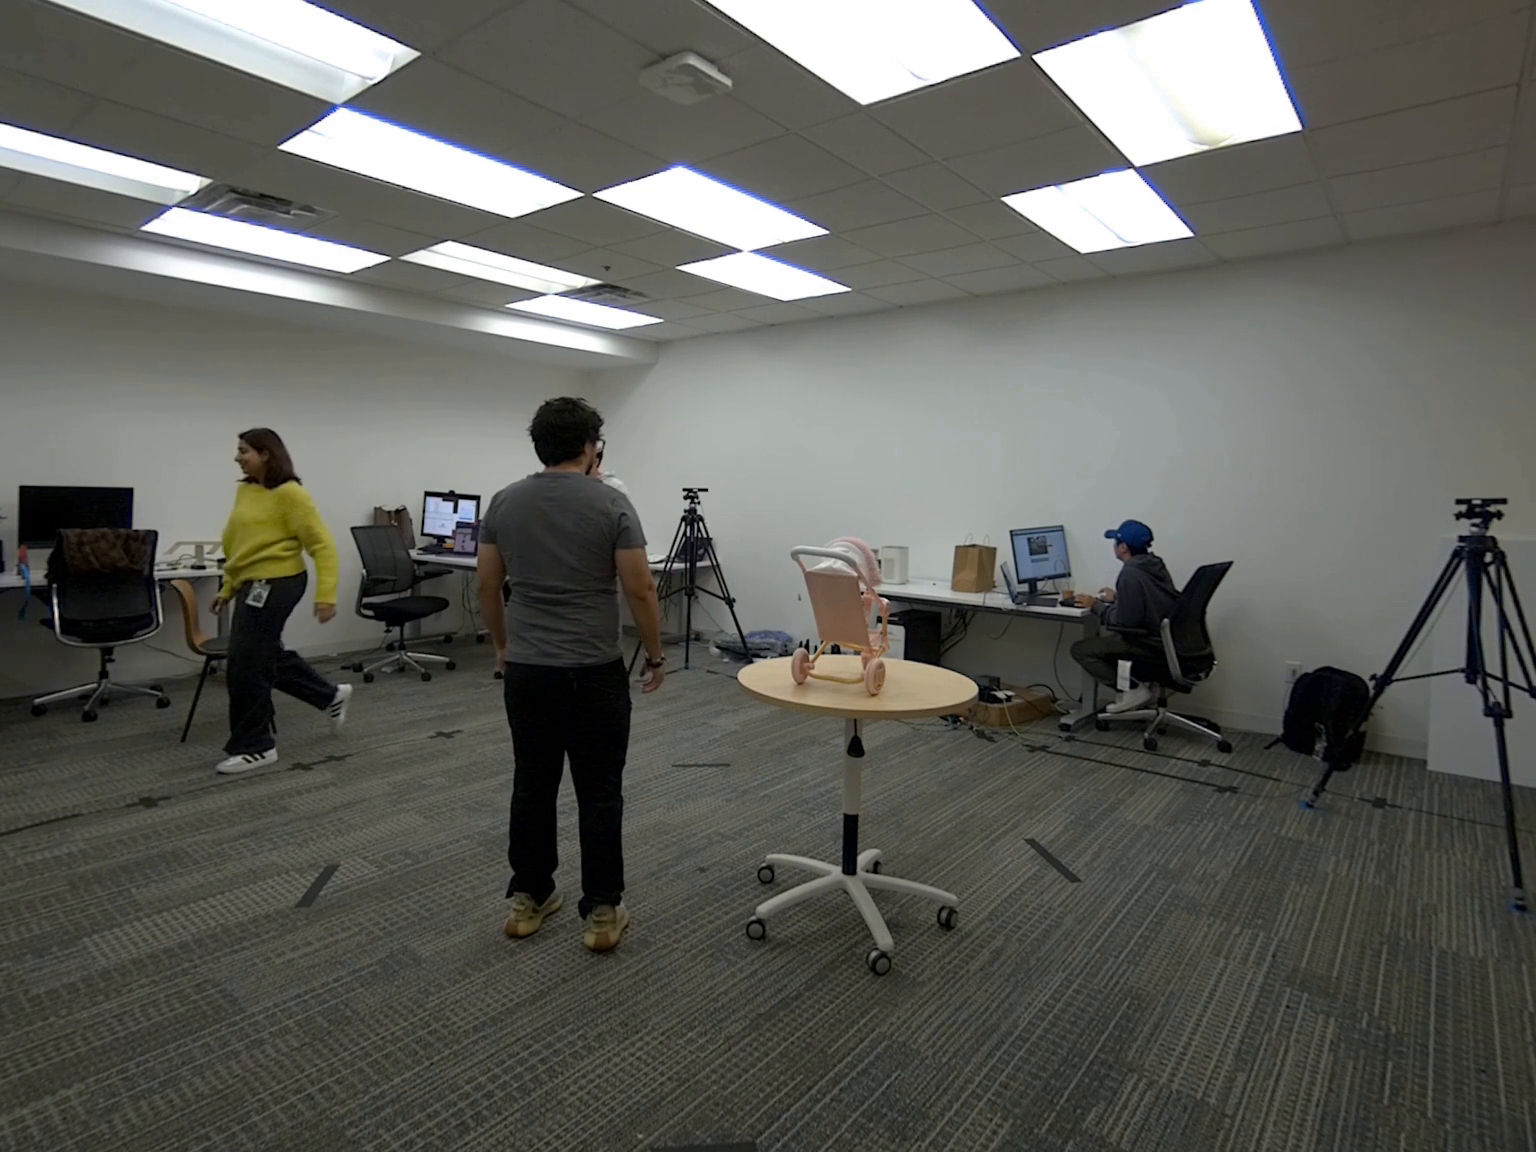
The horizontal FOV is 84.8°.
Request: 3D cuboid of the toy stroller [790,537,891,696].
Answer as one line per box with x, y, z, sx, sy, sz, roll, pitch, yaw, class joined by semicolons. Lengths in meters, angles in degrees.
0.246;0.119;2.659;0.290;0.526;0.336;5;20;34;toy stroller
